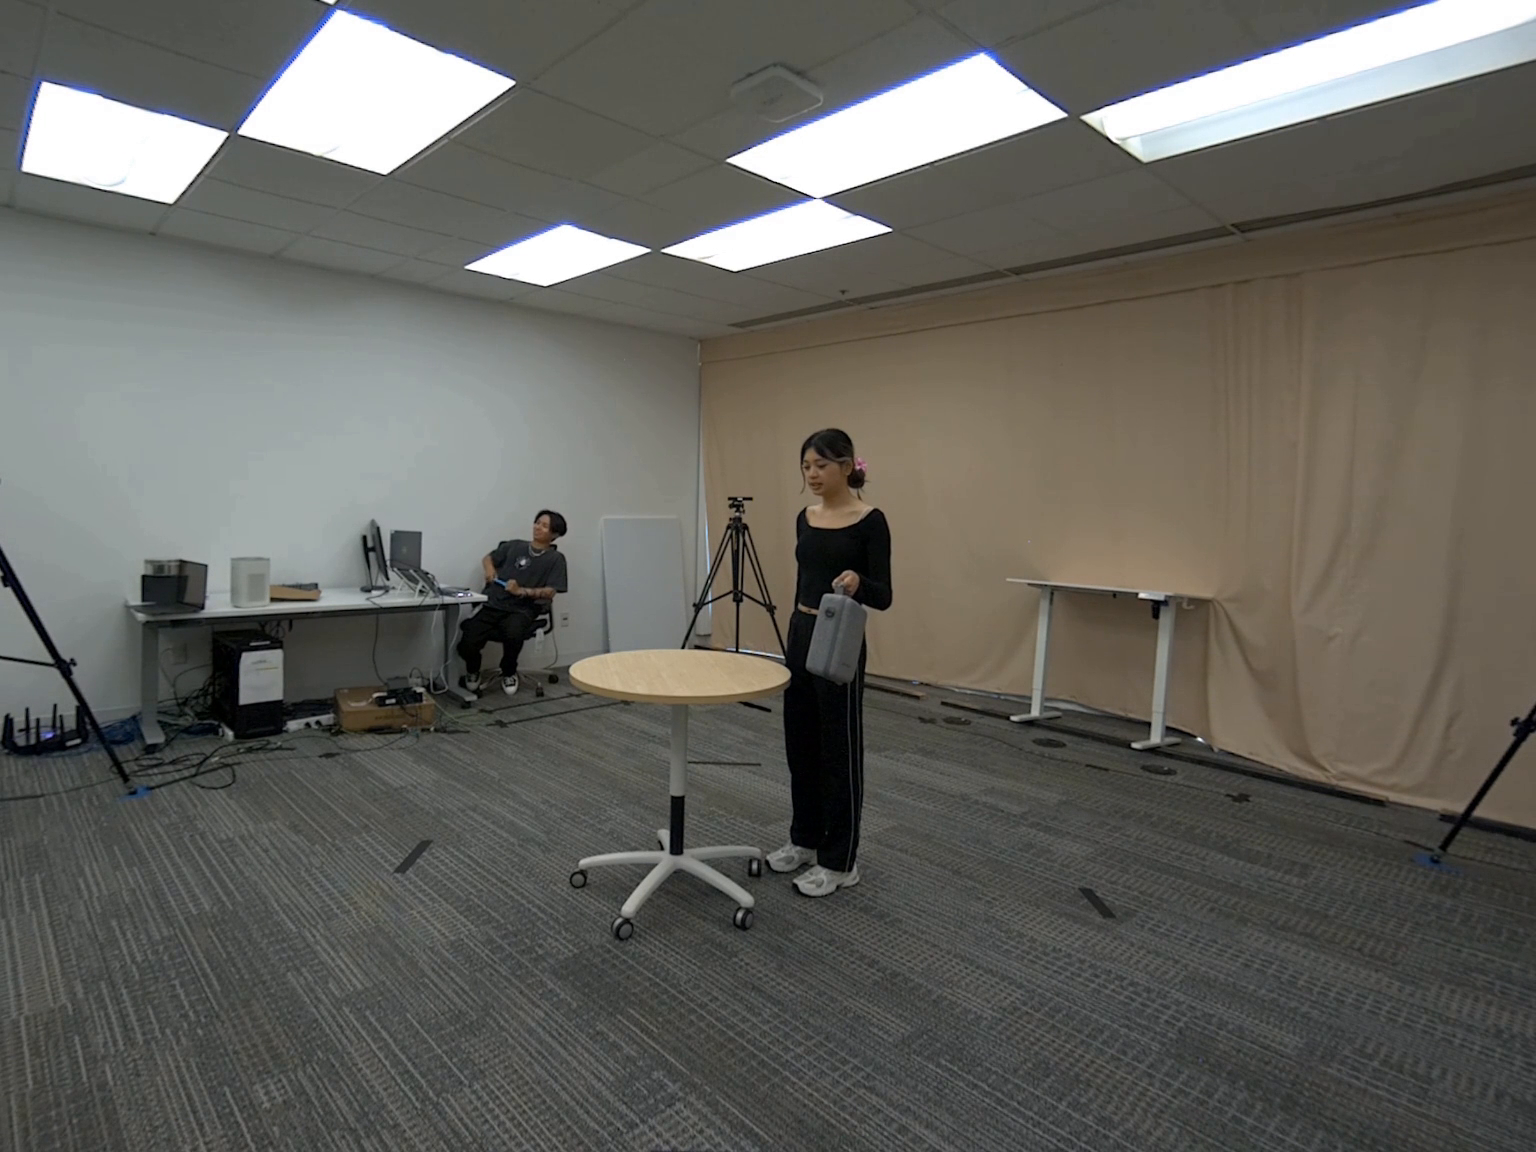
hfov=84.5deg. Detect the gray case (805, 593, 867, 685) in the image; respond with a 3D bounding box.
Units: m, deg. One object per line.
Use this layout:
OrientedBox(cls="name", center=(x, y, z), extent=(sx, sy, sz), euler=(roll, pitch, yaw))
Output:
OrientedBox(cls="gray case", center=(0.210, 0.195, 2.624), extent=(0.106, 0.262, 0.251), euler=(11, -10, 21))
